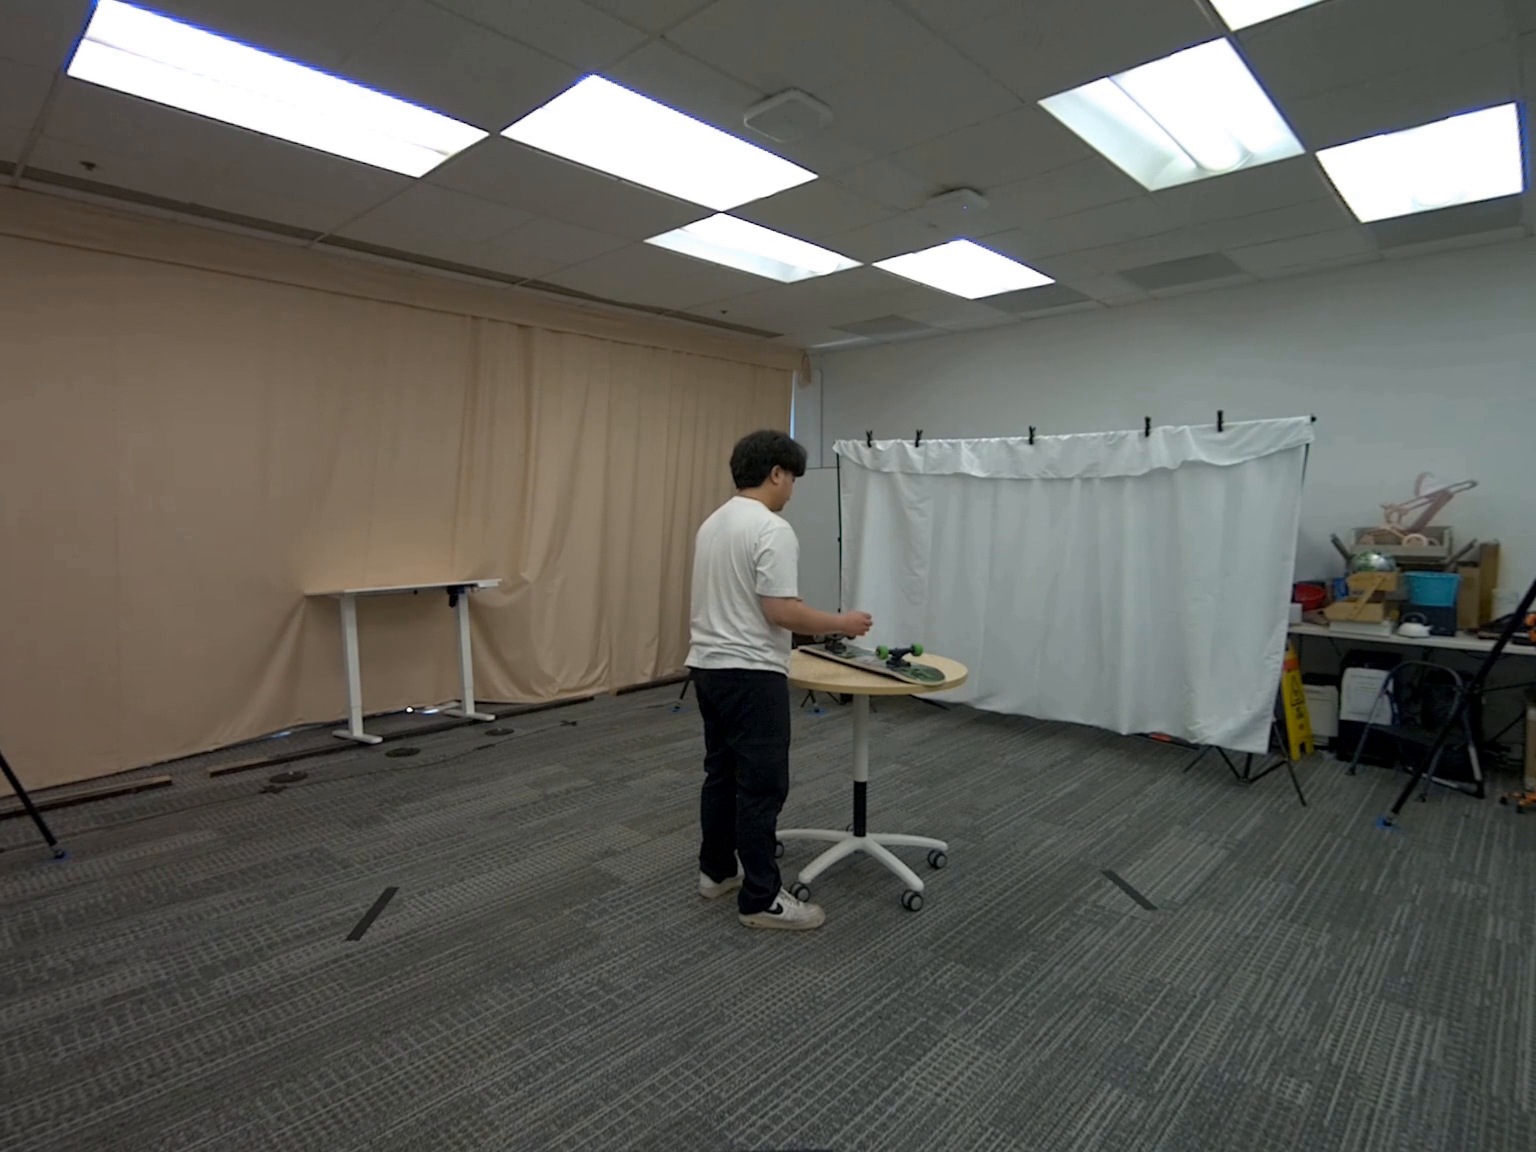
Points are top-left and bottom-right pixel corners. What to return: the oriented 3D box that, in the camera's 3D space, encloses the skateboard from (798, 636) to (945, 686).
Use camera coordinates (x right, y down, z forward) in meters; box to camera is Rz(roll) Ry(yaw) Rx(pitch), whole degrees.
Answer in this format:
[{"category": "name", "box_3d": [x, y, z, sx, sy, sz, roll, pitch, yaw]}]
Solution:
[{"category": "skateboard", "box_3d": [0.376, 0.285, 3.168, 0.188, 0.110, 0.808, -2, 5, -28]}]
